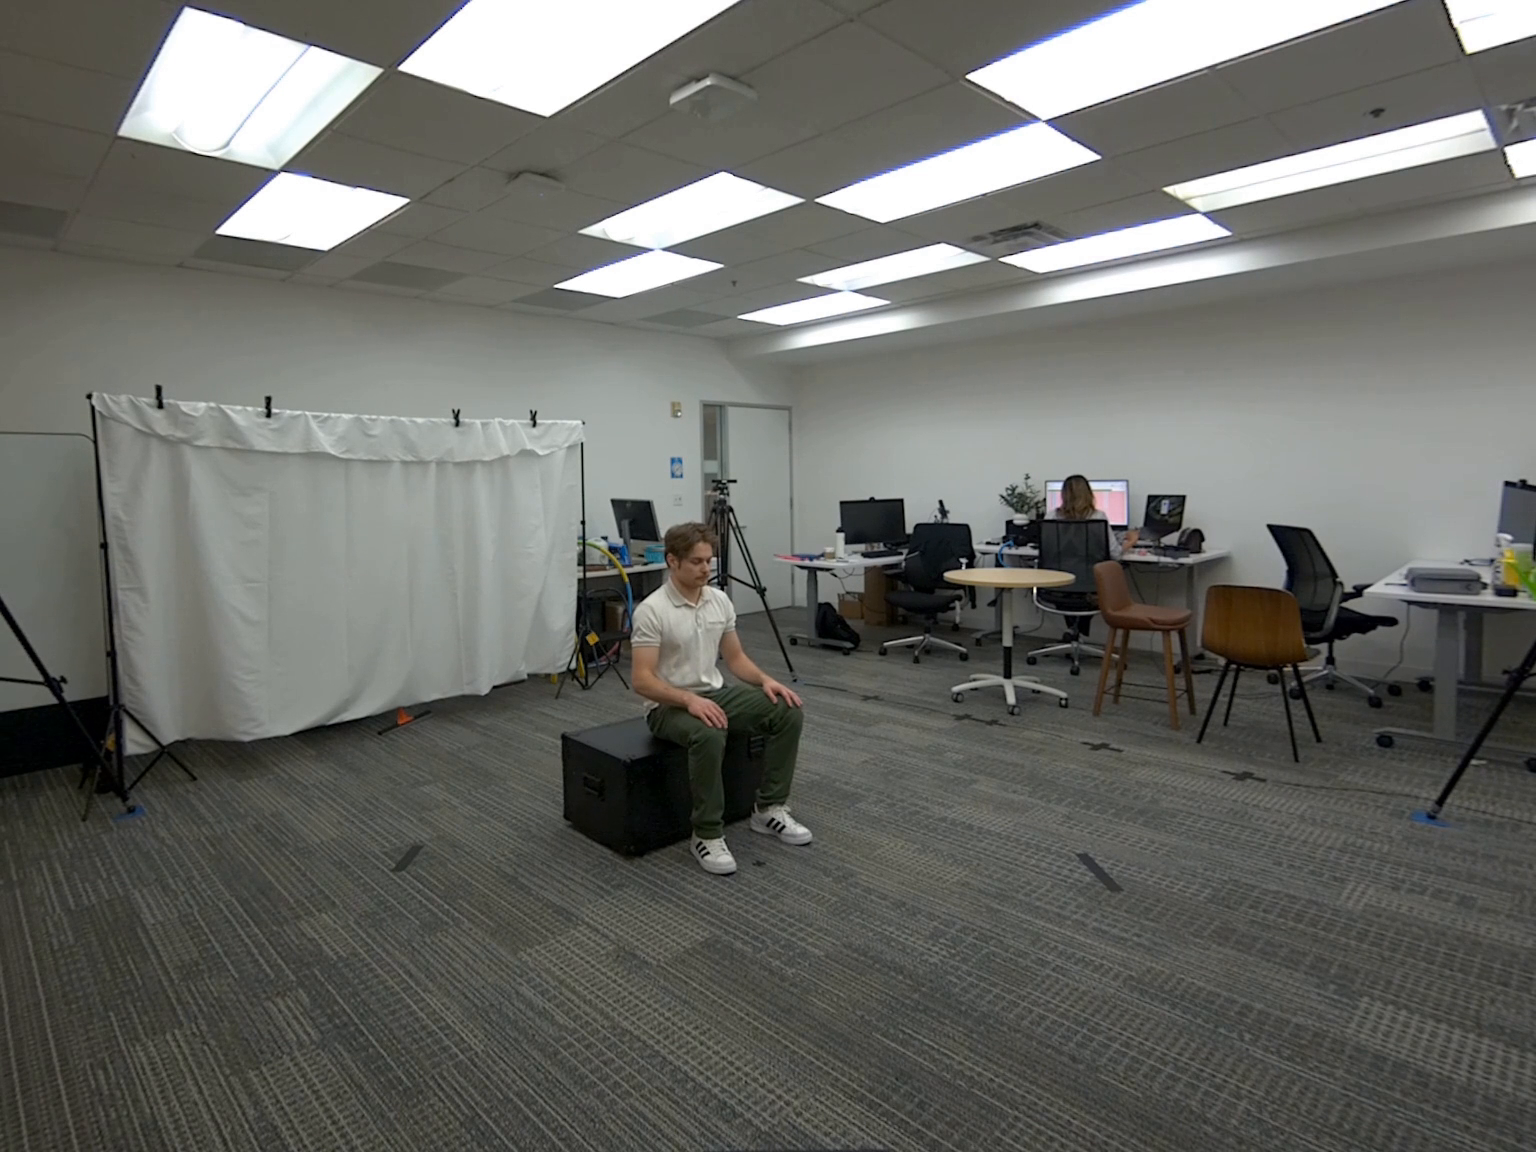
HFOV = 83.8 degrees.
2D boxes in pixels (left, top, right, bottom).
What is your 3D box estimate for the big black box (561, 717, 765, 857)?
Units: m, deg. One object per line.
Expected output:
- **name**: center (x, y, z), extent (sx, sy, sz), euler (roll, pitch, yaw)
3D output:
- **big black box**: center (-0.364, 0.810, 3.578), extent (0.846, 0.384, 0.539), euler (-6, 6, -41)
